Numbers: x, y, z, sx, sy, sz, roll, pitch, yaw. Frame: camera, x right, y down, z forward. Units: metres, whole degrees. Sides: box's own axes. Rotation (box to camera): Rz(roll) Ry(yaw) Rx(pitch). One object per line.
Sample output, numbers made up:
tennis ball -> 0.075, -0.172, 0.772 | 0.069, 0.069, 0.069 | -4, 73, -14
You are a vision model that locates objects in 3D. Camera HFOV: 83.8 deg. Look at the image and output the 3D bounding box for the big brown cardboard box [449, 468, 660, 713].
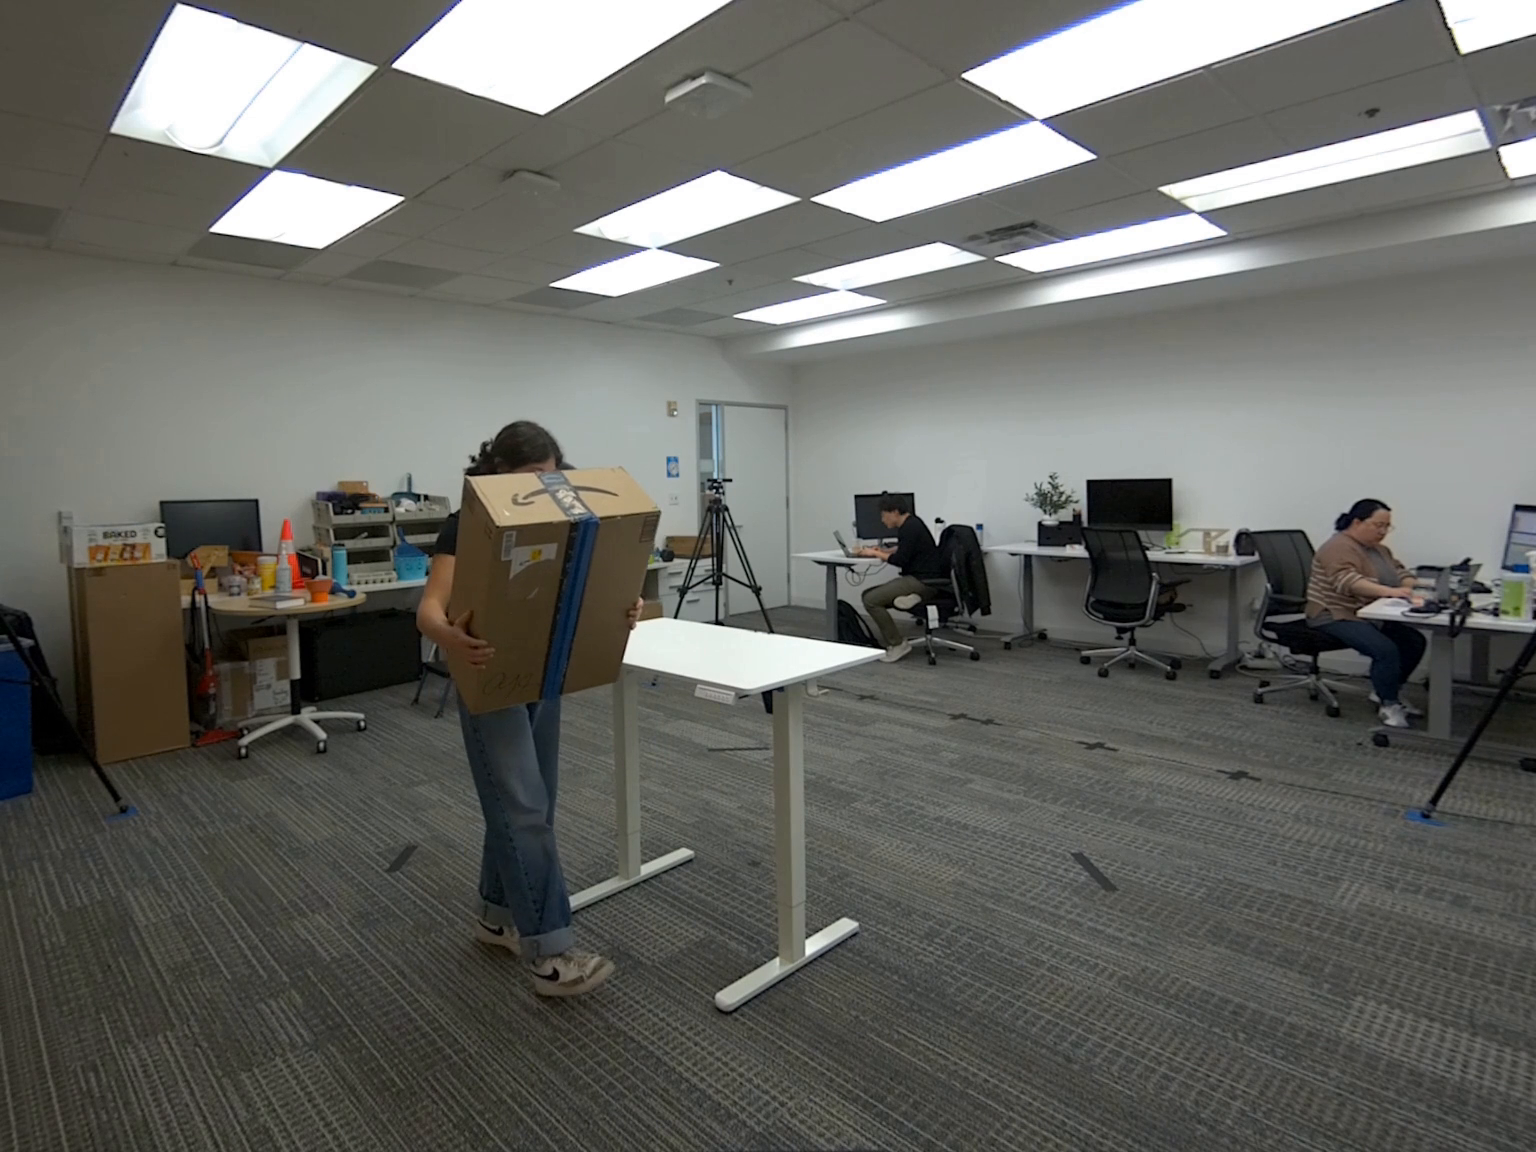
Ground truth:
big brown cardboard box -> -0.544, 0.032, 2.136 | 0.408, 0.580, 0.242 | -9, 42, -36
